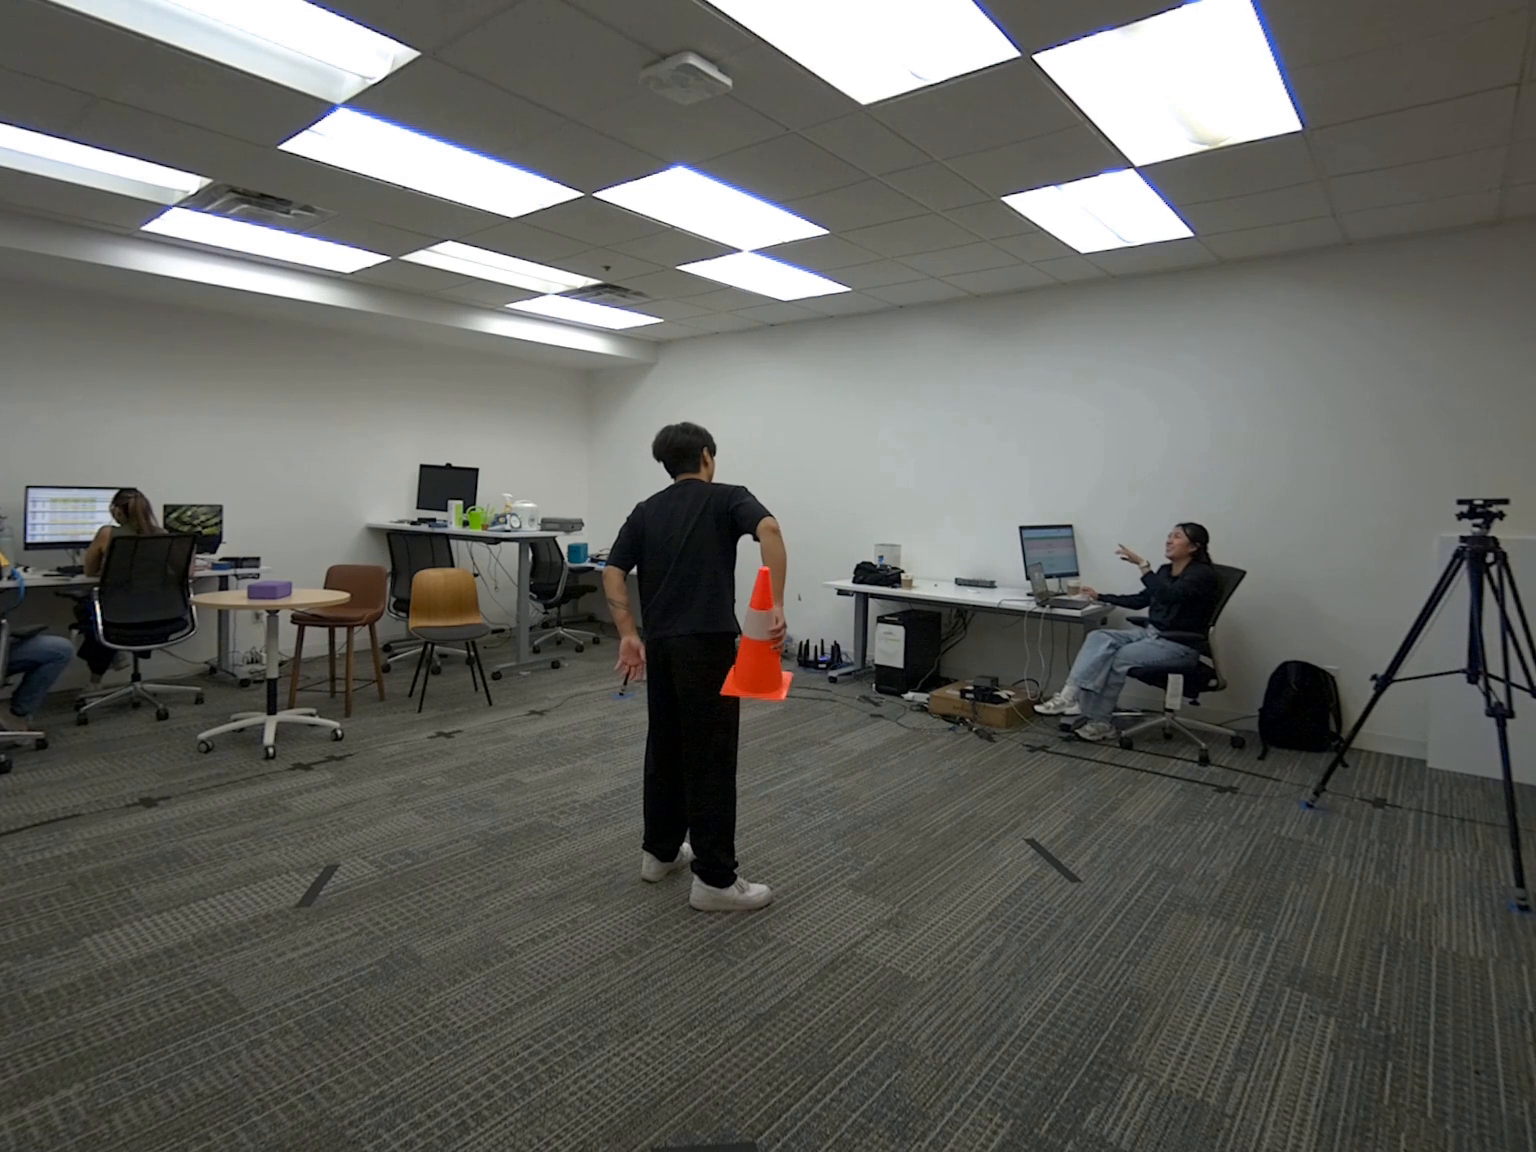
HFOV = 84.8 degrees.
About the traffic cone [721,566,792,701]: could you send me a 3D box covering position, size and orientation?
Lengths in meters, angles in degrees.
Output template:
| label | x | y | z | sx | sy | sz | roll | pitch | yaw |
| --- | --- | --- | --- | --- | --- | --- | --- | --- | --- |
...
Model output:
| label | x | y | z | sx | sy | sz | roll | pitch | yaw |
| --- | --- | --- | --- | --- | --- | --- | --- | --- | --- |
| traffic cone | -0.031 | 0.154 | 2.581 | 0.209 | 0.378 | 0.202 | 9 | 18 | 15 |
